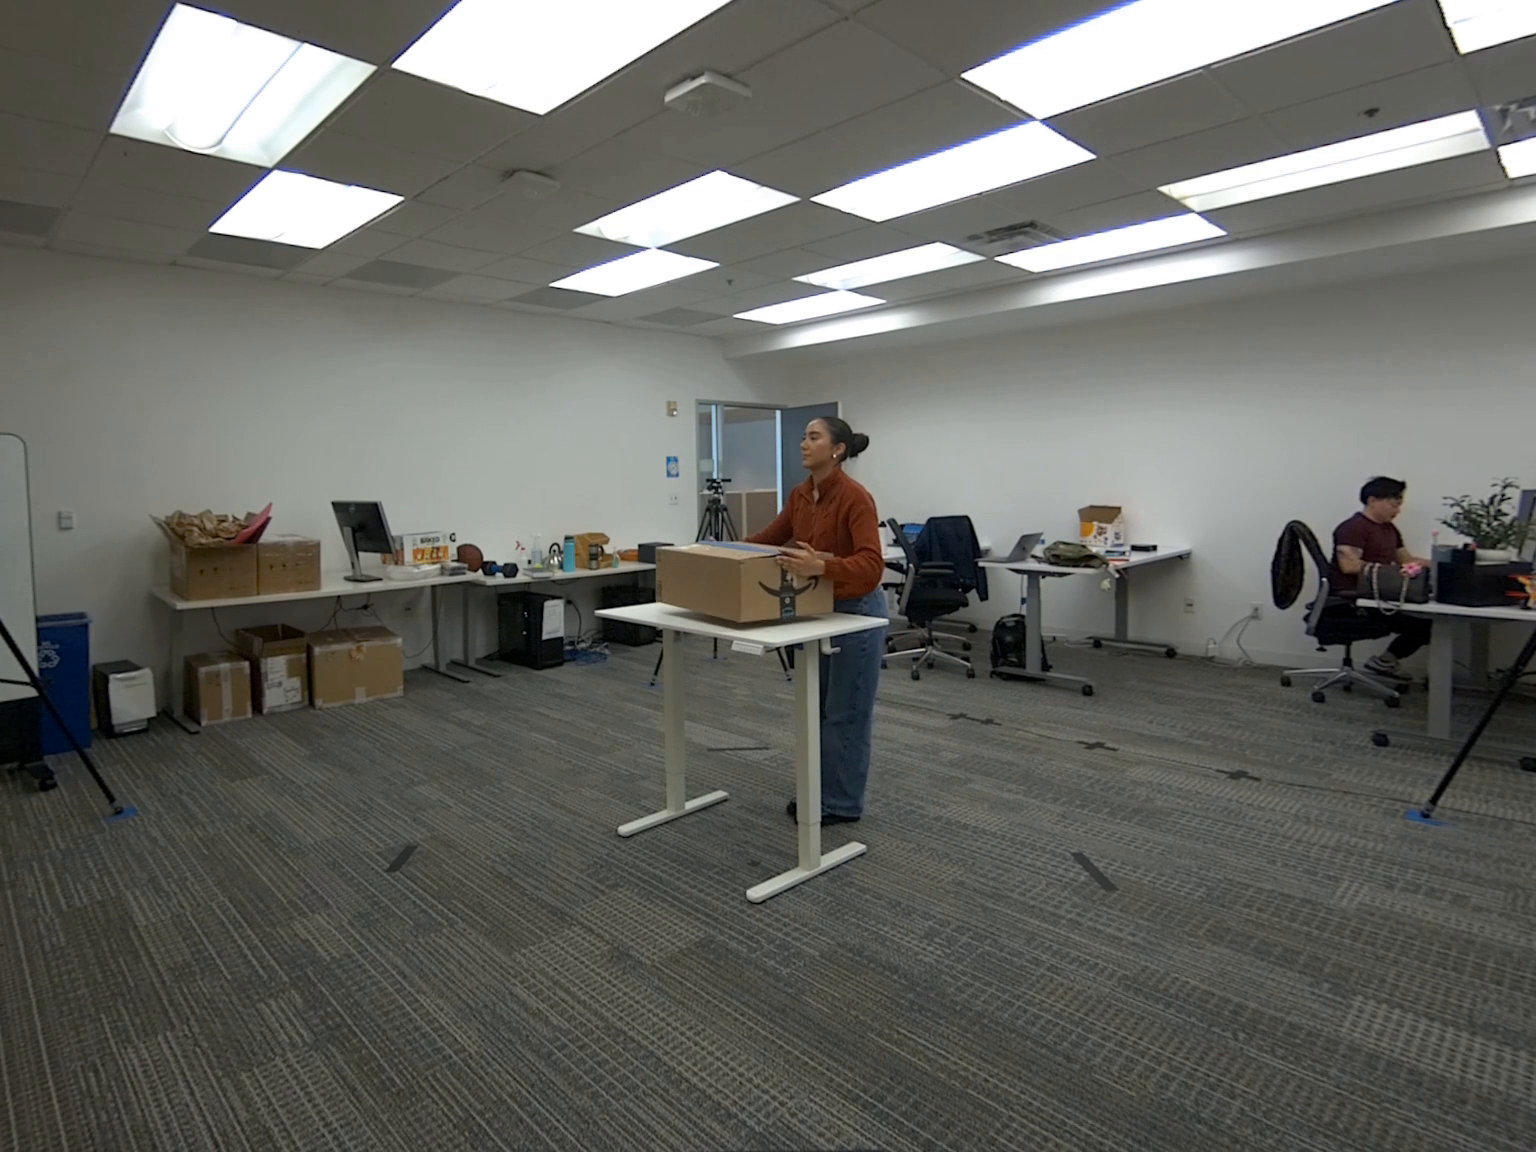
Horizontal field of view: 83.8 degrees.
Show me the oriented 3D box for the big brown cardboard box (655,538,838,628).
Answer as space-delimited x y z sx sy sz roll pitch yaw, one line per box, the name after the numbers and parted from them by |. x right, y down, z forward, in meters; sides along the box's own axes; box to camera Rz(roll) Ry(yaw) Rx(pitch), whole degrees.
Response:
-0.095 0.006 3.208 0.407 0.232 0.607 -5 9 -36 | big brown cardboard box
